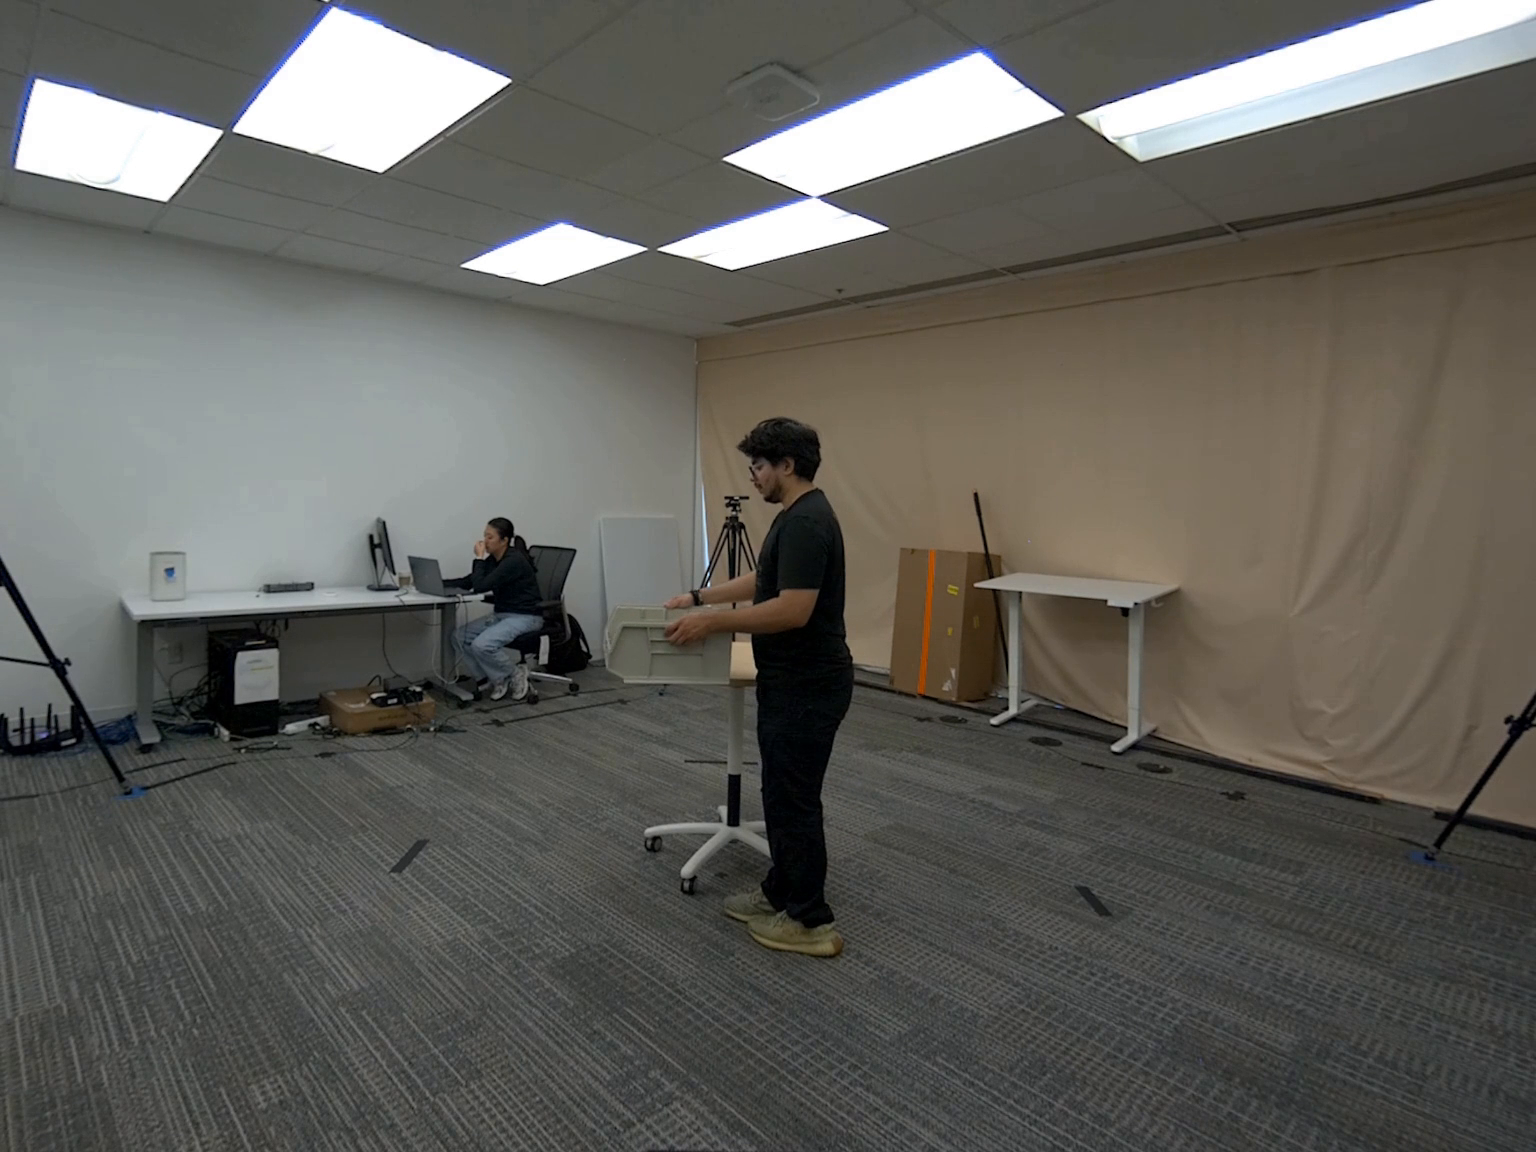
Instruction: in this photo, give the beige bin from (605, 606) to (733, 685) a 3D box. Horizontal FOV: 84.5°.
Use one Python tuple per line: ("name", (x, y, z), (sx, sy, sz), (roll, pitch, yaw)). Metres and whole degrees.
("beige bin", (-0.330, 0.207, 2.667), (0.374, 0.189, 0.426), (4, 2, -11))
